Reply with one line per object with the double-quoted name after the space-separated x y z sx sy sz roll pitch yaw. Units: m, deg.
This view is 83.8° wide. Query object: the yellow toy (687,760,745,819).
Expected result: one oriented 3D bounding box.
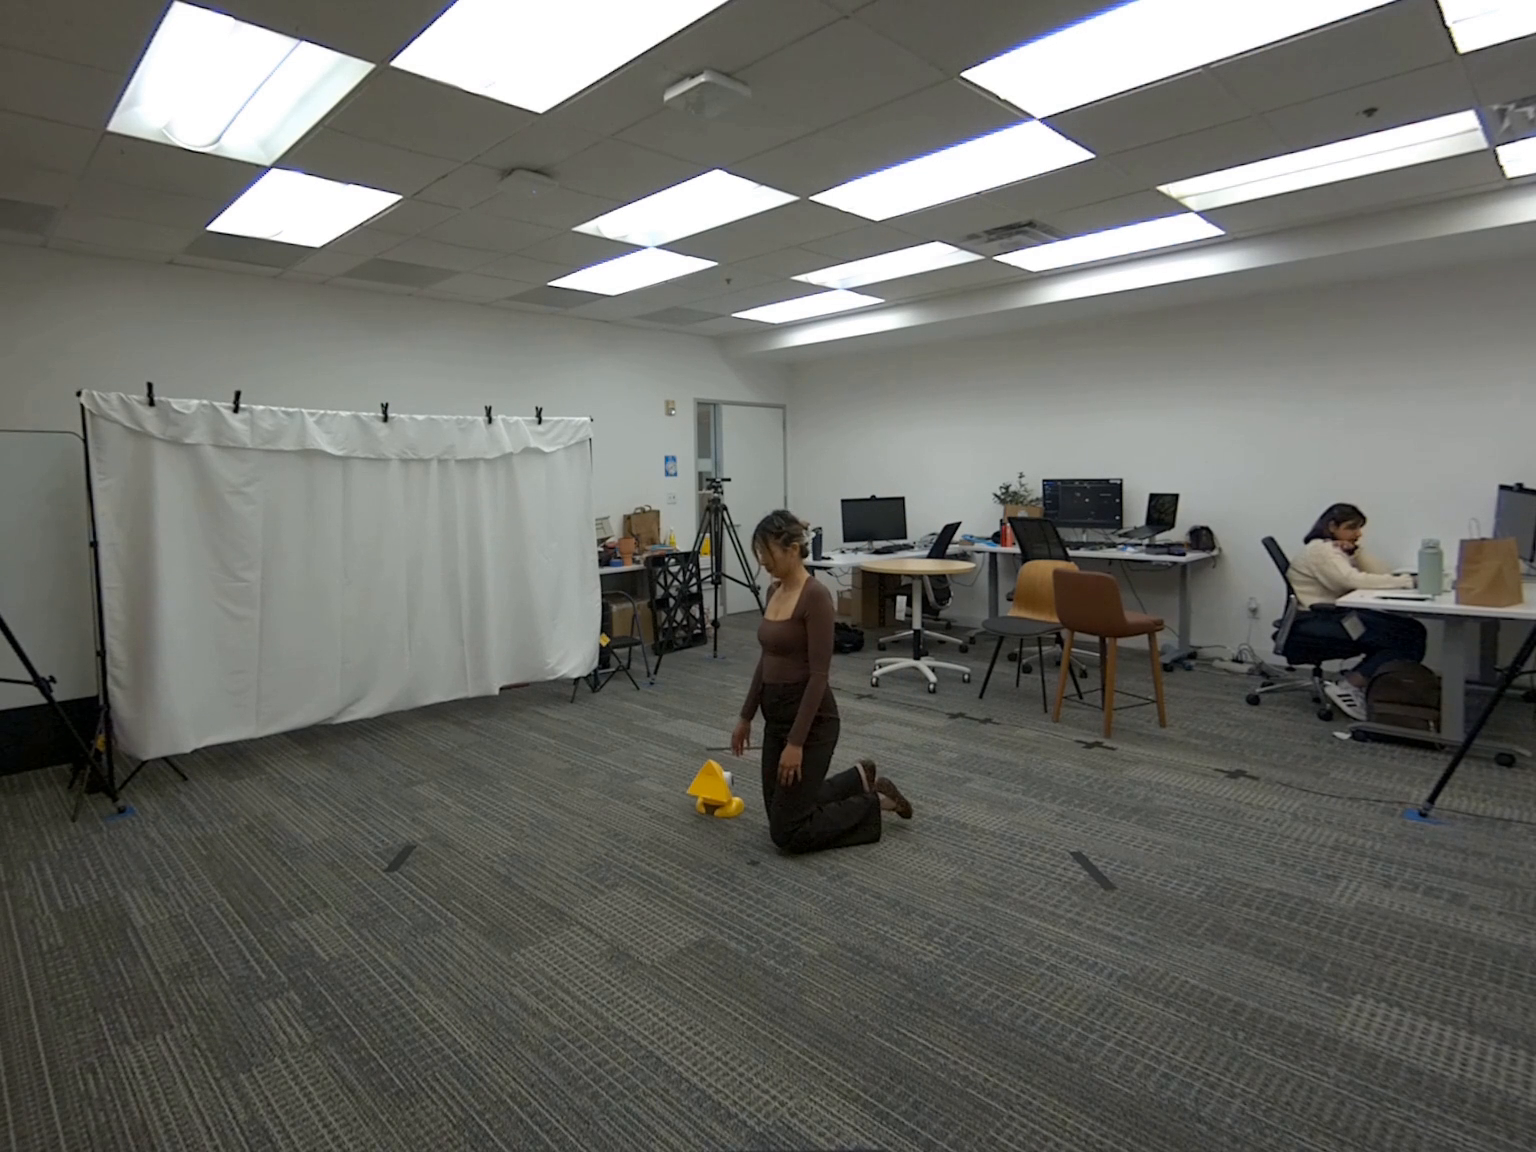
-0.210 0.876 3.614 0.210 0.230 0.188 1 5 34 "yellow toy"
